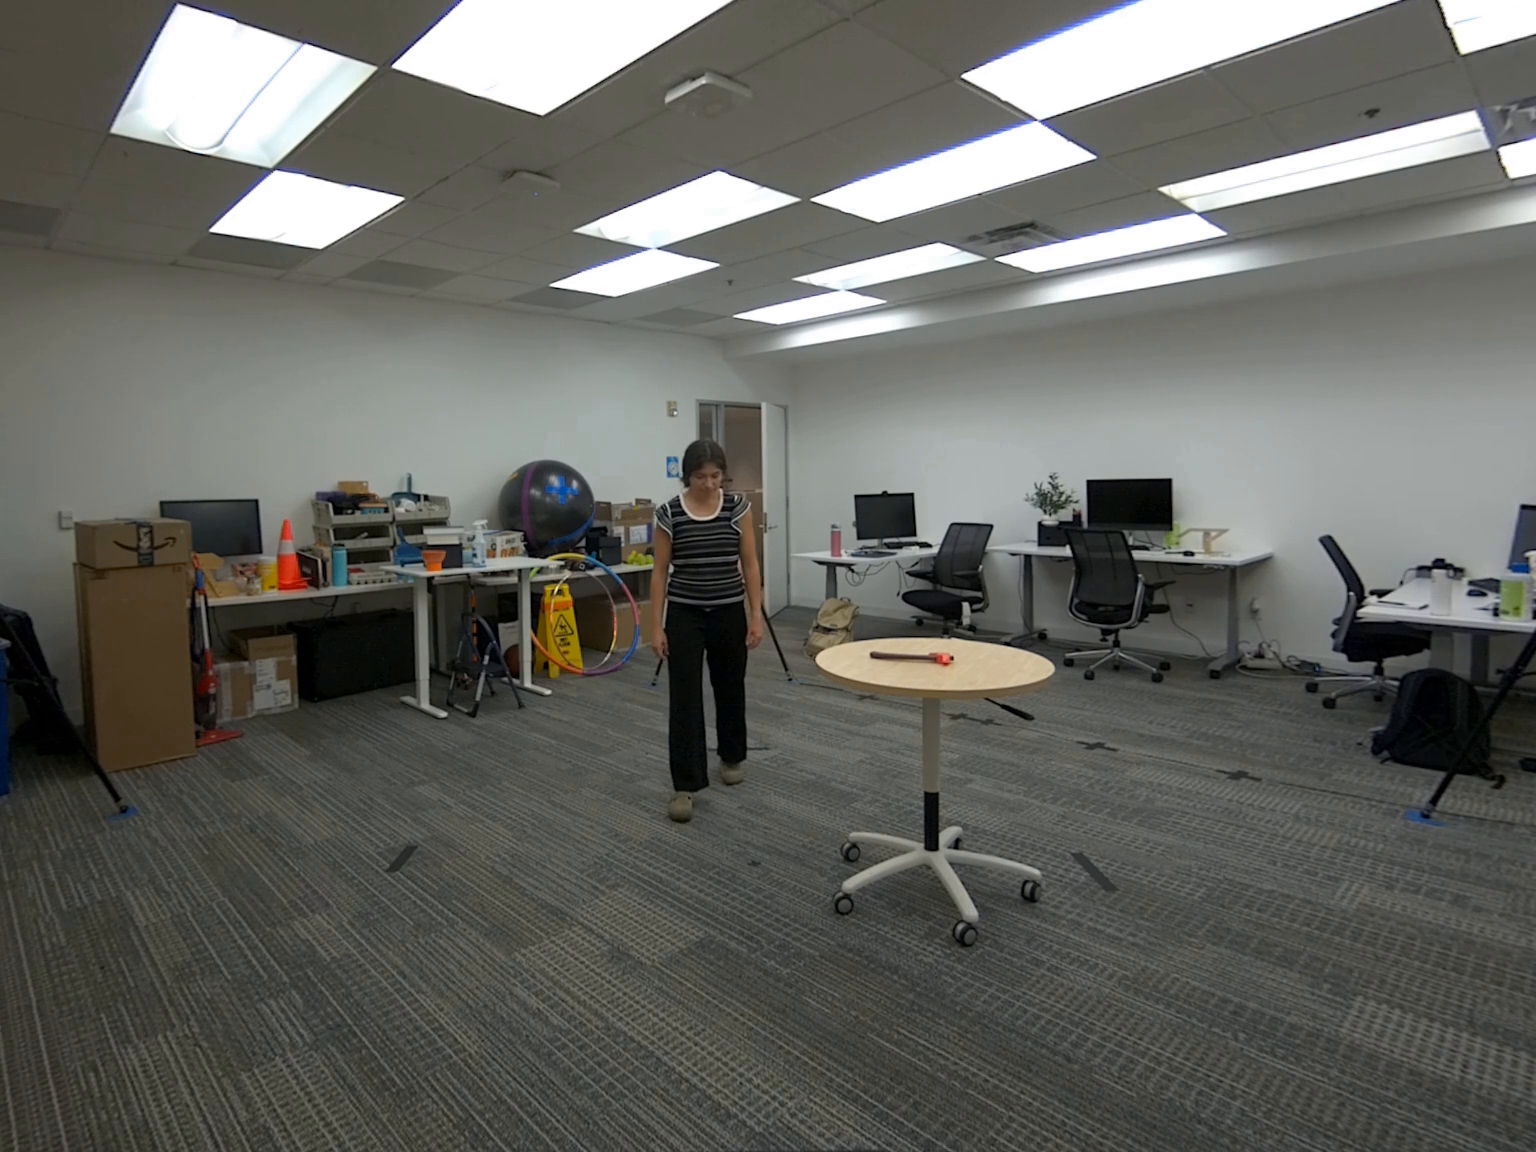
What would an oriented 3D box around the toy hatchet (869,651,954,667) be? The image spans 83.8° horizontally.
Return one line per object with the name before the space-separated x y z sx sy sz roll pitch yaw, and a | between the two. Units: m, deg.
toy hatchet | 0.486 0.264 2.861 0.277 0.029 0.128 2 7 32
